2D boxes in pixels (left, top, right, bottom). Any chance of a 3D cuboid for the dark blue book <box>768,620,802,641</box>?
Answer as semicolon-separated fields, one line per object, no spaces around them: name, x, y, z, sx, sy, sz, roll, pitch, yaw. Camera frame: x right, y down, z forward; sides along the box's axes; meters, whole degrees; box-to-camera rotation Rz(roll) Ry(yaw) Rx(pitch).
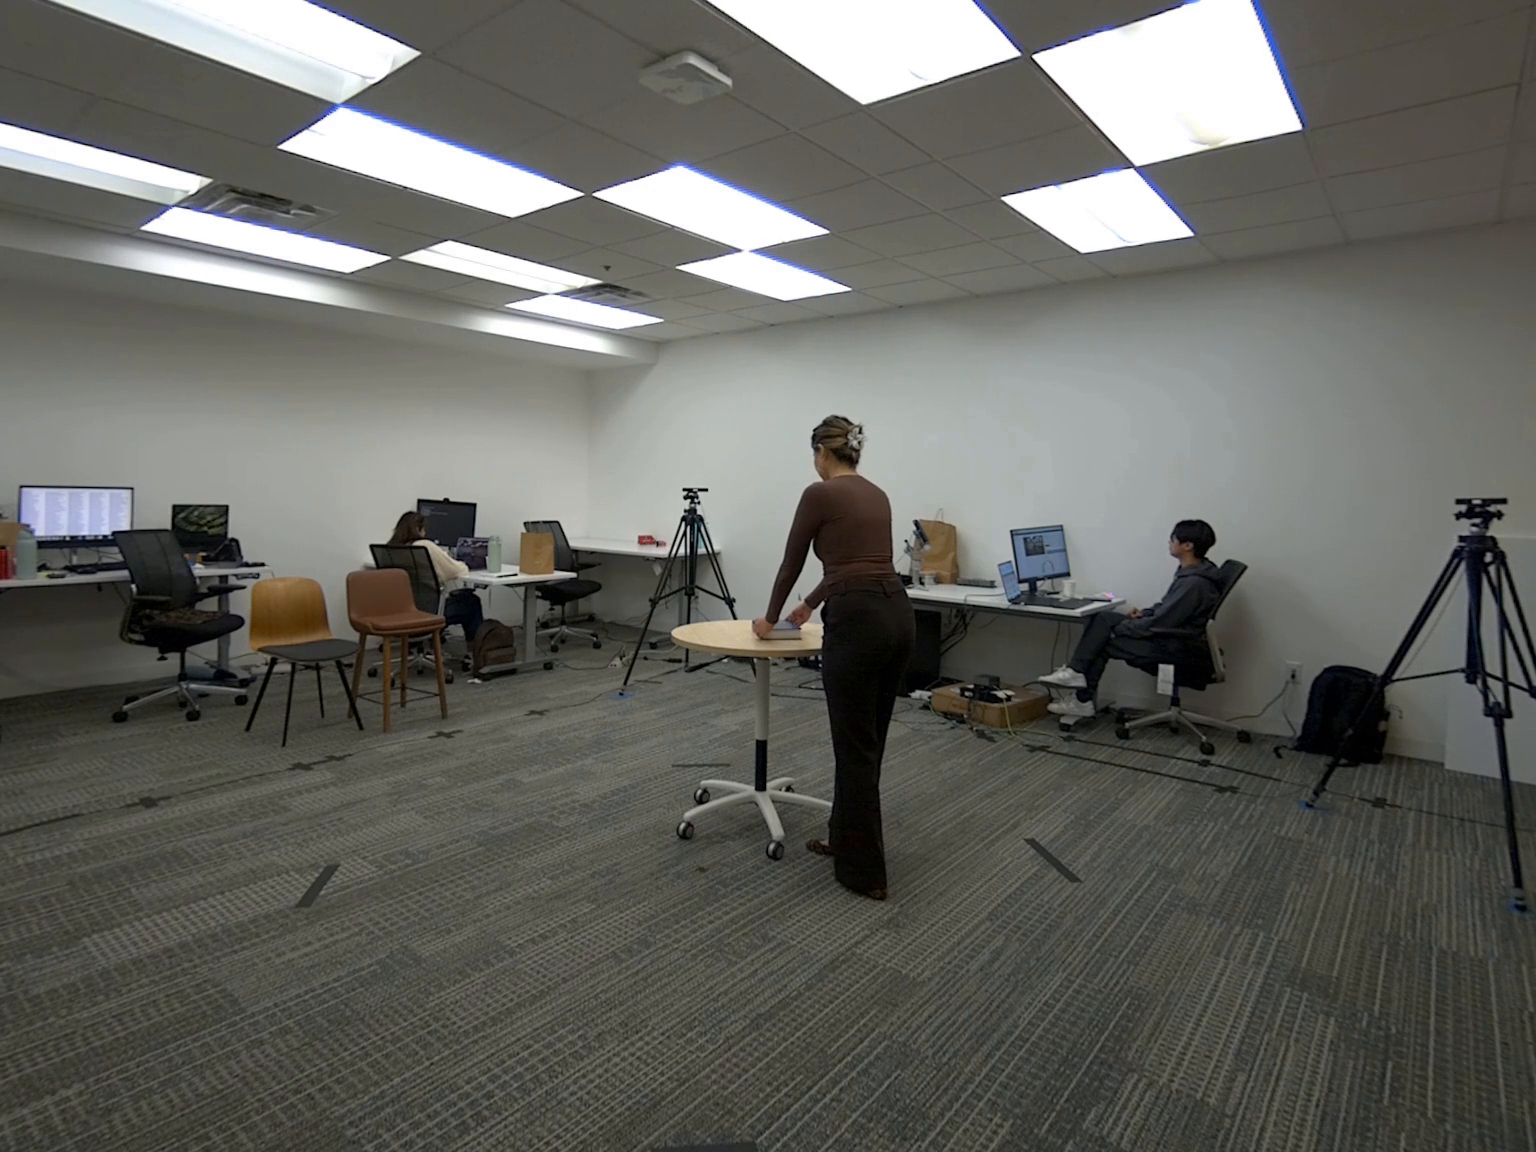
dark blue book;0.027;0.220;3.501;0.162;0.045;0.247;1;5;-6
